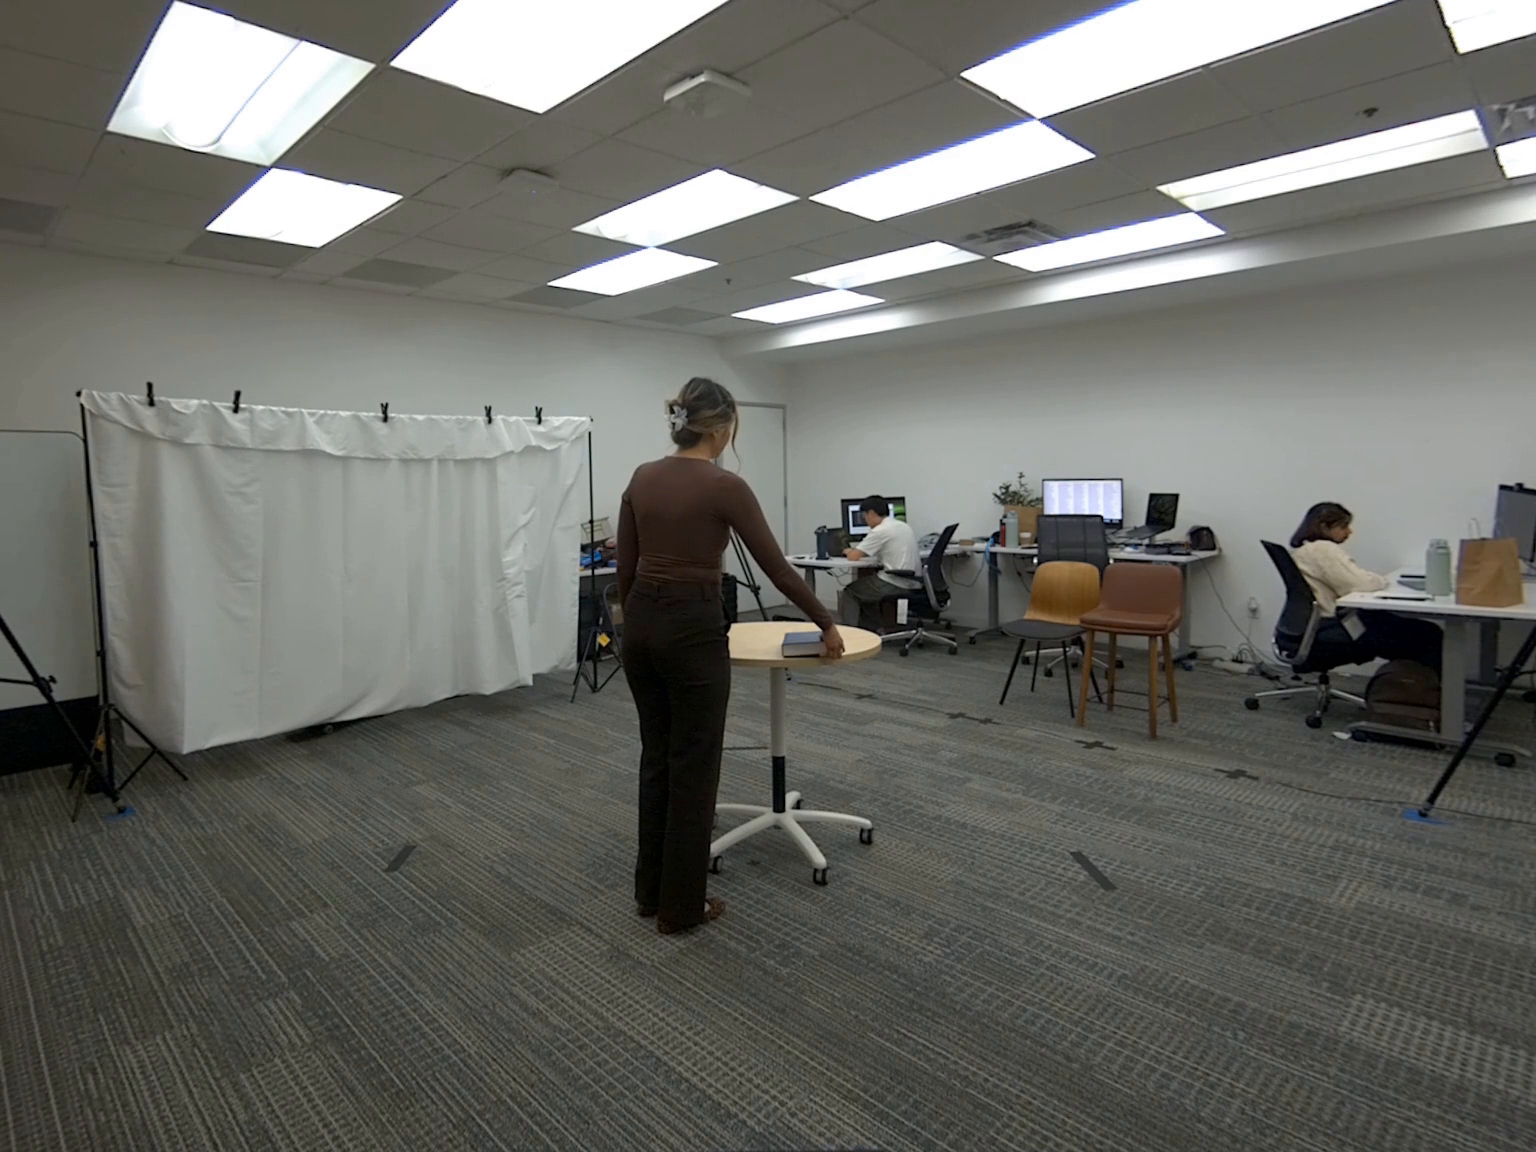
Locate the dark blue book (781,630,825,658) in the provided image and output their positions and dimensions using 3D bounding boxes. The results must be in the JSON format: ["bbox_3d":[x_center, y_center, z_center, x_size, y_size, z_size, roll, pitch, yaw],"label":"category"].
[{"bbox_3d":[0.145,0.232,2.937,0.164,0.045,0.244,-3,4,4],"label":"dark blue book"}]
